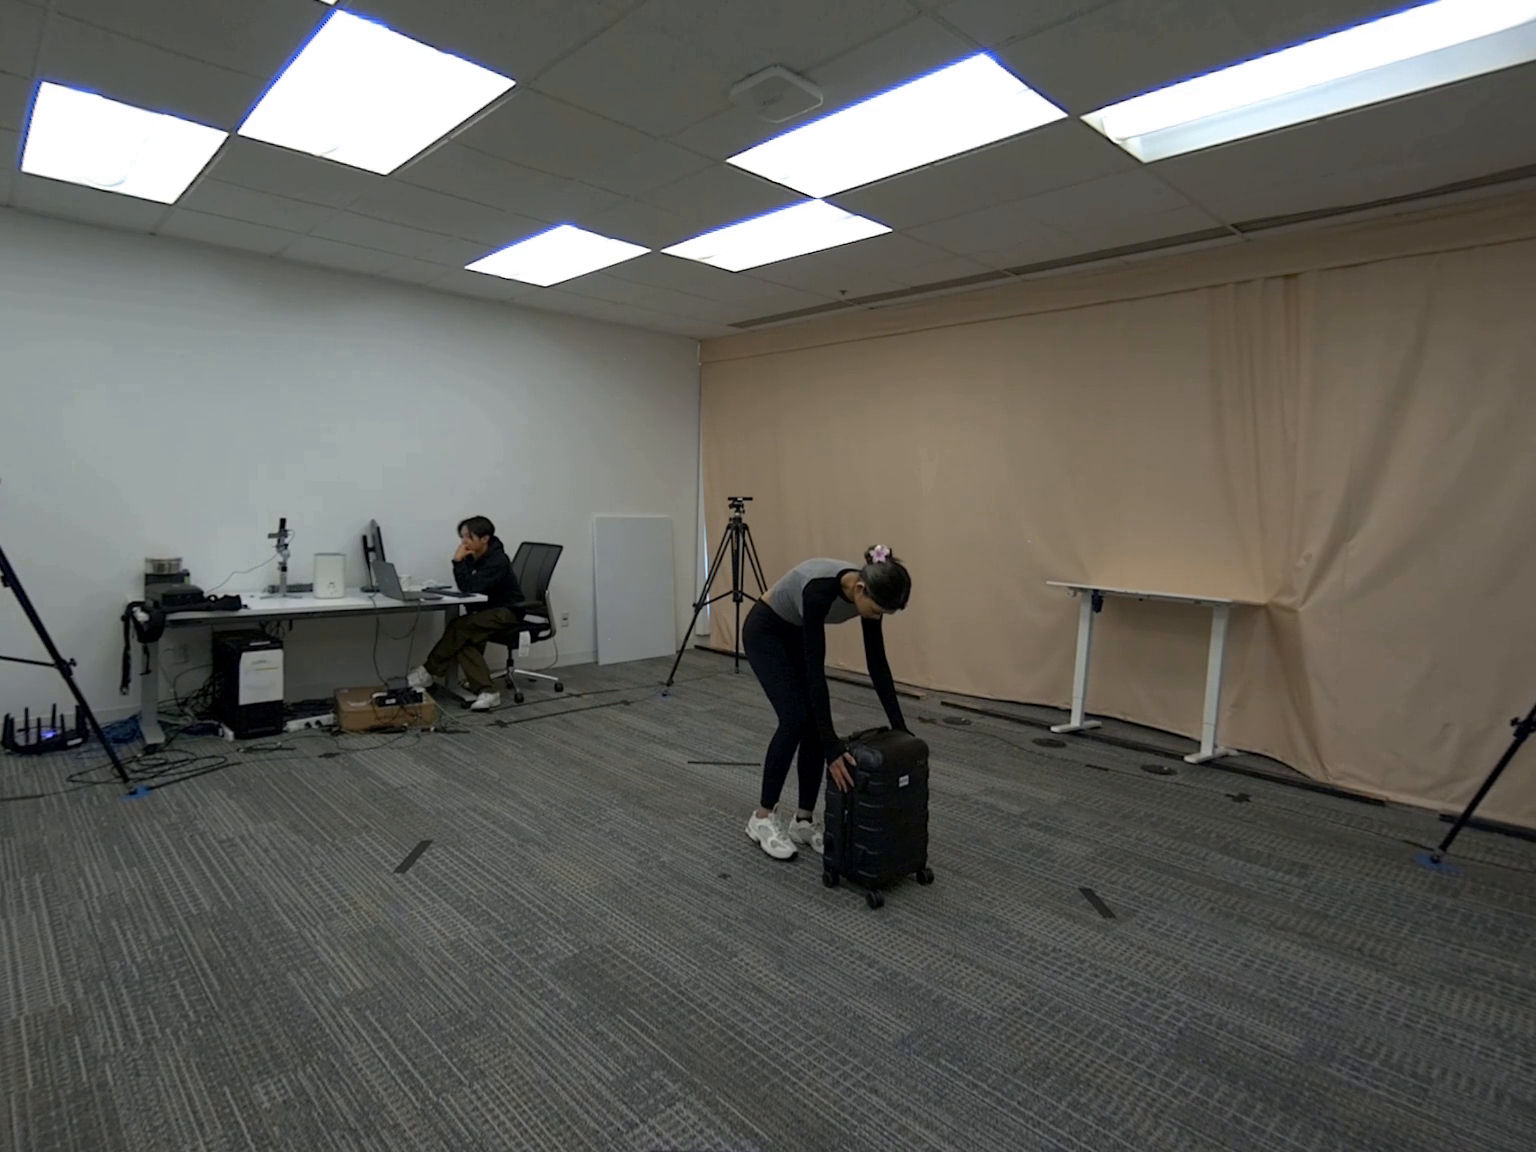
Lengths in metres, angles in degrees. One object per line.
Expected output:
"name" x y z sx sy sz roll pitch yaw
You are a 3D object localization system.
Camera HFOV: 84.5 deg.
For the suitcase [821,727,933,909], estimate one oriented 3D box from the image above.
"suitcase" 0.398 0.851 3.068 0.367 0.548 0.254 -1 3 -43
